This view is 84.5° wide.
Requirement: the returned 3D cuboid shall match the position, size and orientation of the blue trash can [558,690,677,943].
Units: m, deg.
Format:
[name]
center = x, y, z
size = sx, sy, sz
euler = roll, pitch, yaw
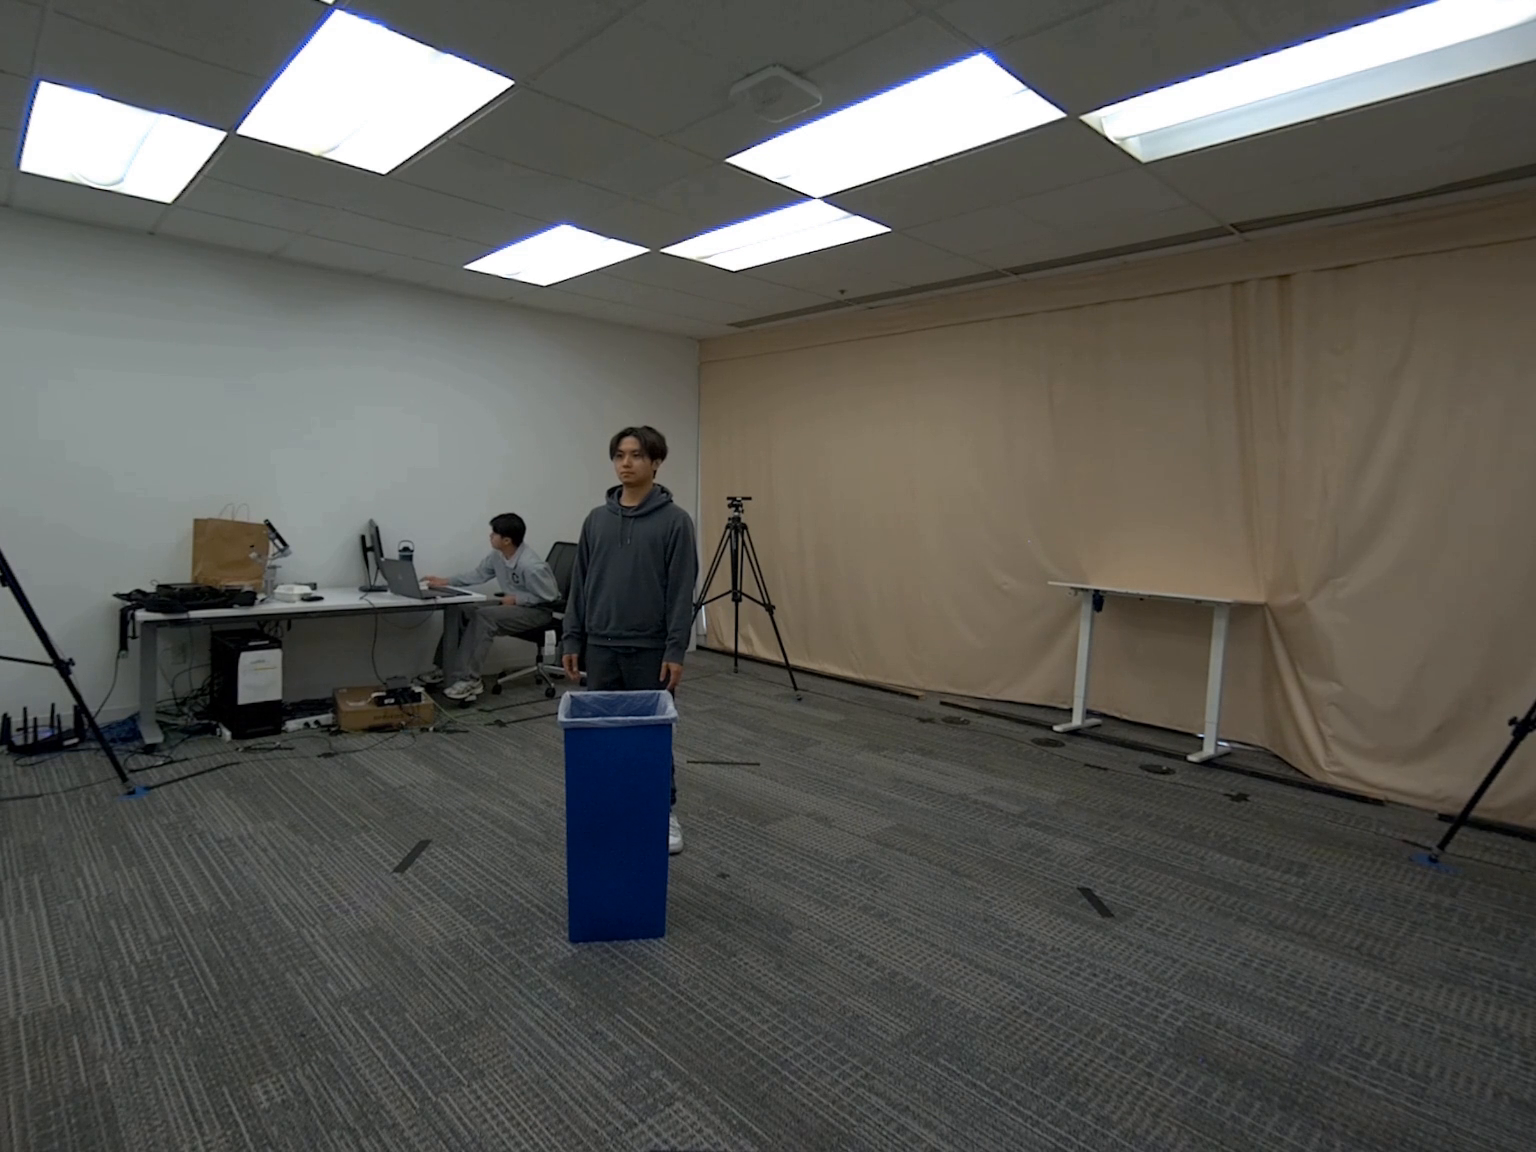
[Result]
[blue trash can]
center = -0.506, 0.772, 2.758
size = 0.371, 0.712, 0.382
euler = 1, 3, -10
